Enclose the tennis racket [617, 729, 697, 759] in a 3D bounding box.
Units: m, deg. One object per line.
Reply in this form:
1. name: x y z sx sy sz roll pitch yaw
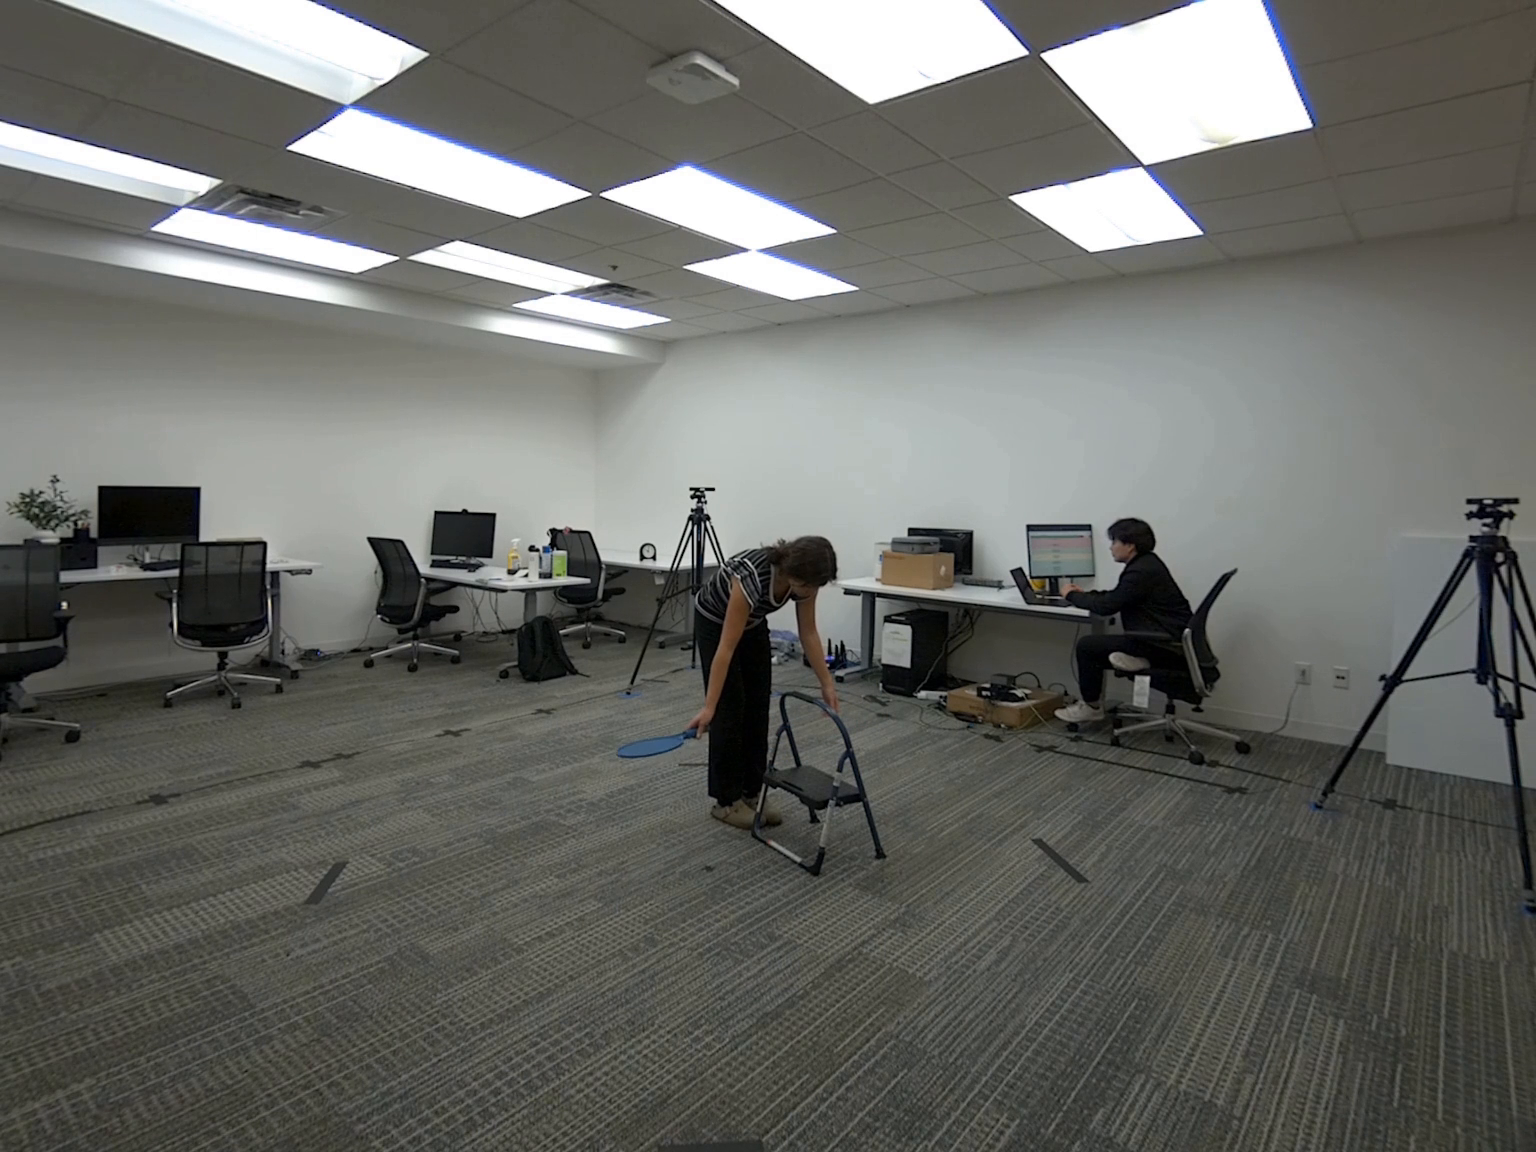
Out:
1. tennis racket: -0.382 0.620 3.145 0.220 0.032 0.420 -2 3 43
